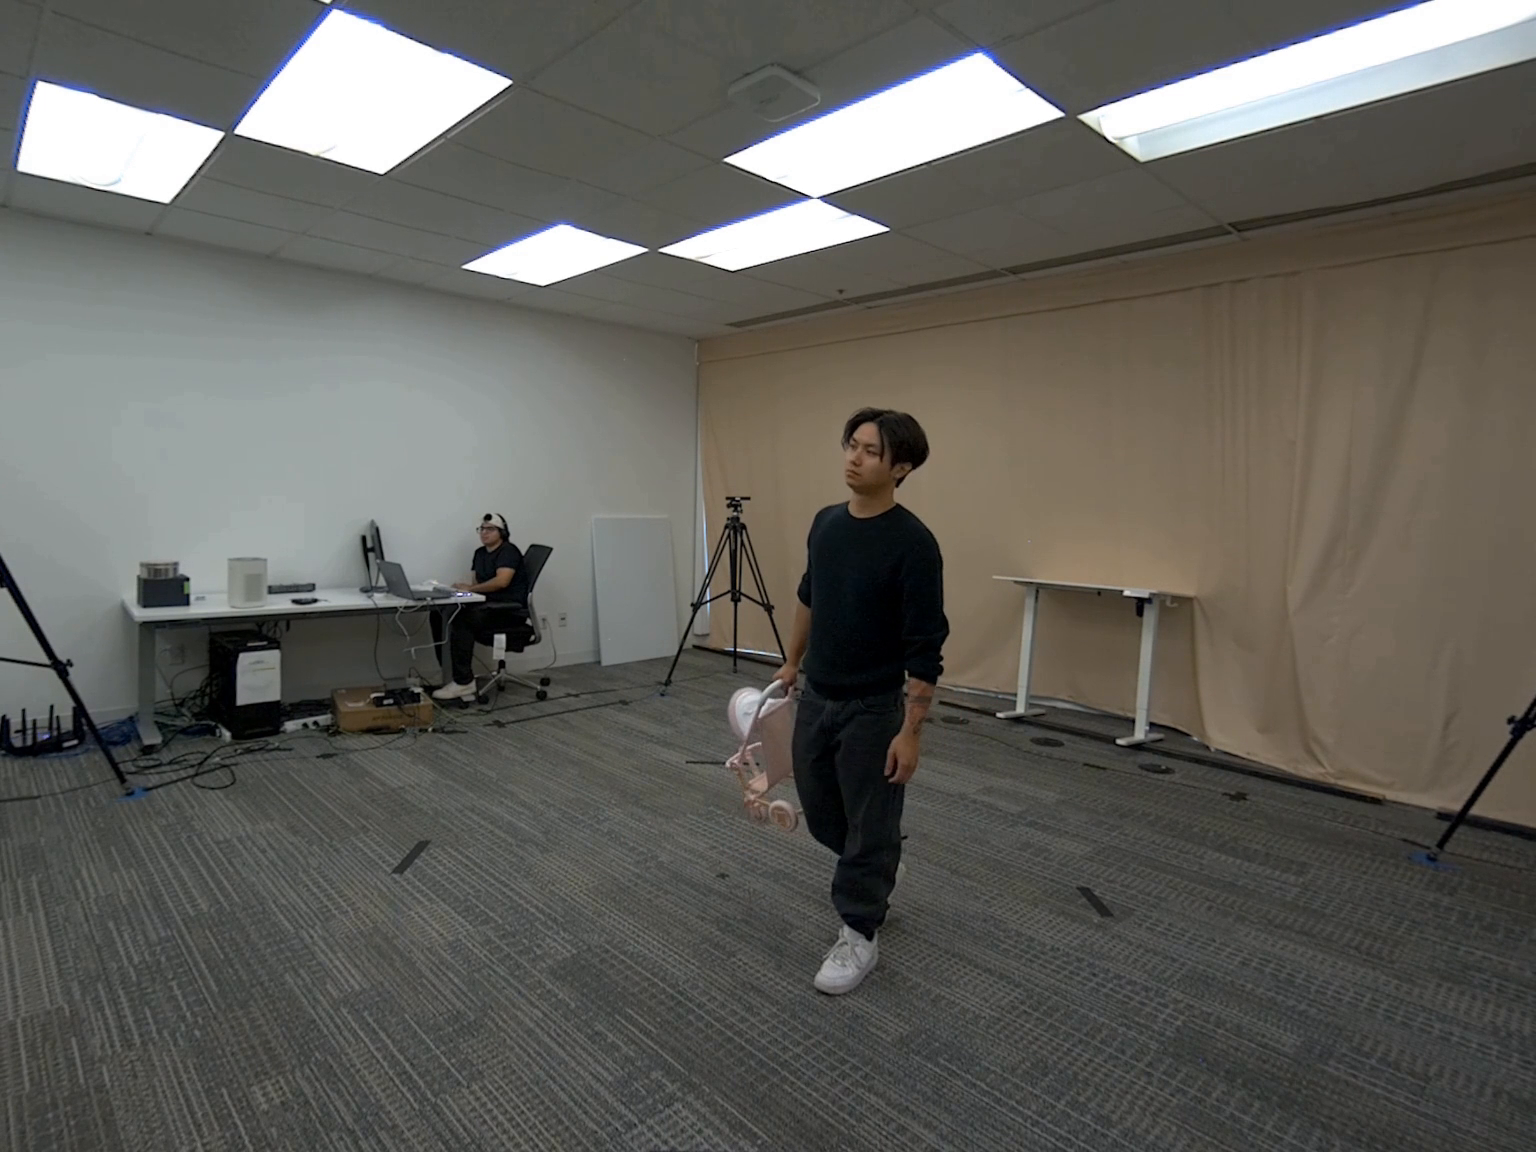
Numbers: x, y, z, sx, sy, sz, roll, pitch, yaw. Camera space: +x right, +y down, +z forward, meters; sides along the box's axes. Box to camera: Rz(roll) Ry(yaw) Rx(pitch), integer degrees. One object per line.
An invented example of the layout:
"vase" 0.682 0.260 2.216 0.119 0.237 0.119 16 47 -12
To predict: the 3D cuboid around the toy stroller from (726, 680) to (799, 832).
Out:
"toy stroller" 0.002 0.623 2.916 0.348 0.532 0.277 -10 9 46
